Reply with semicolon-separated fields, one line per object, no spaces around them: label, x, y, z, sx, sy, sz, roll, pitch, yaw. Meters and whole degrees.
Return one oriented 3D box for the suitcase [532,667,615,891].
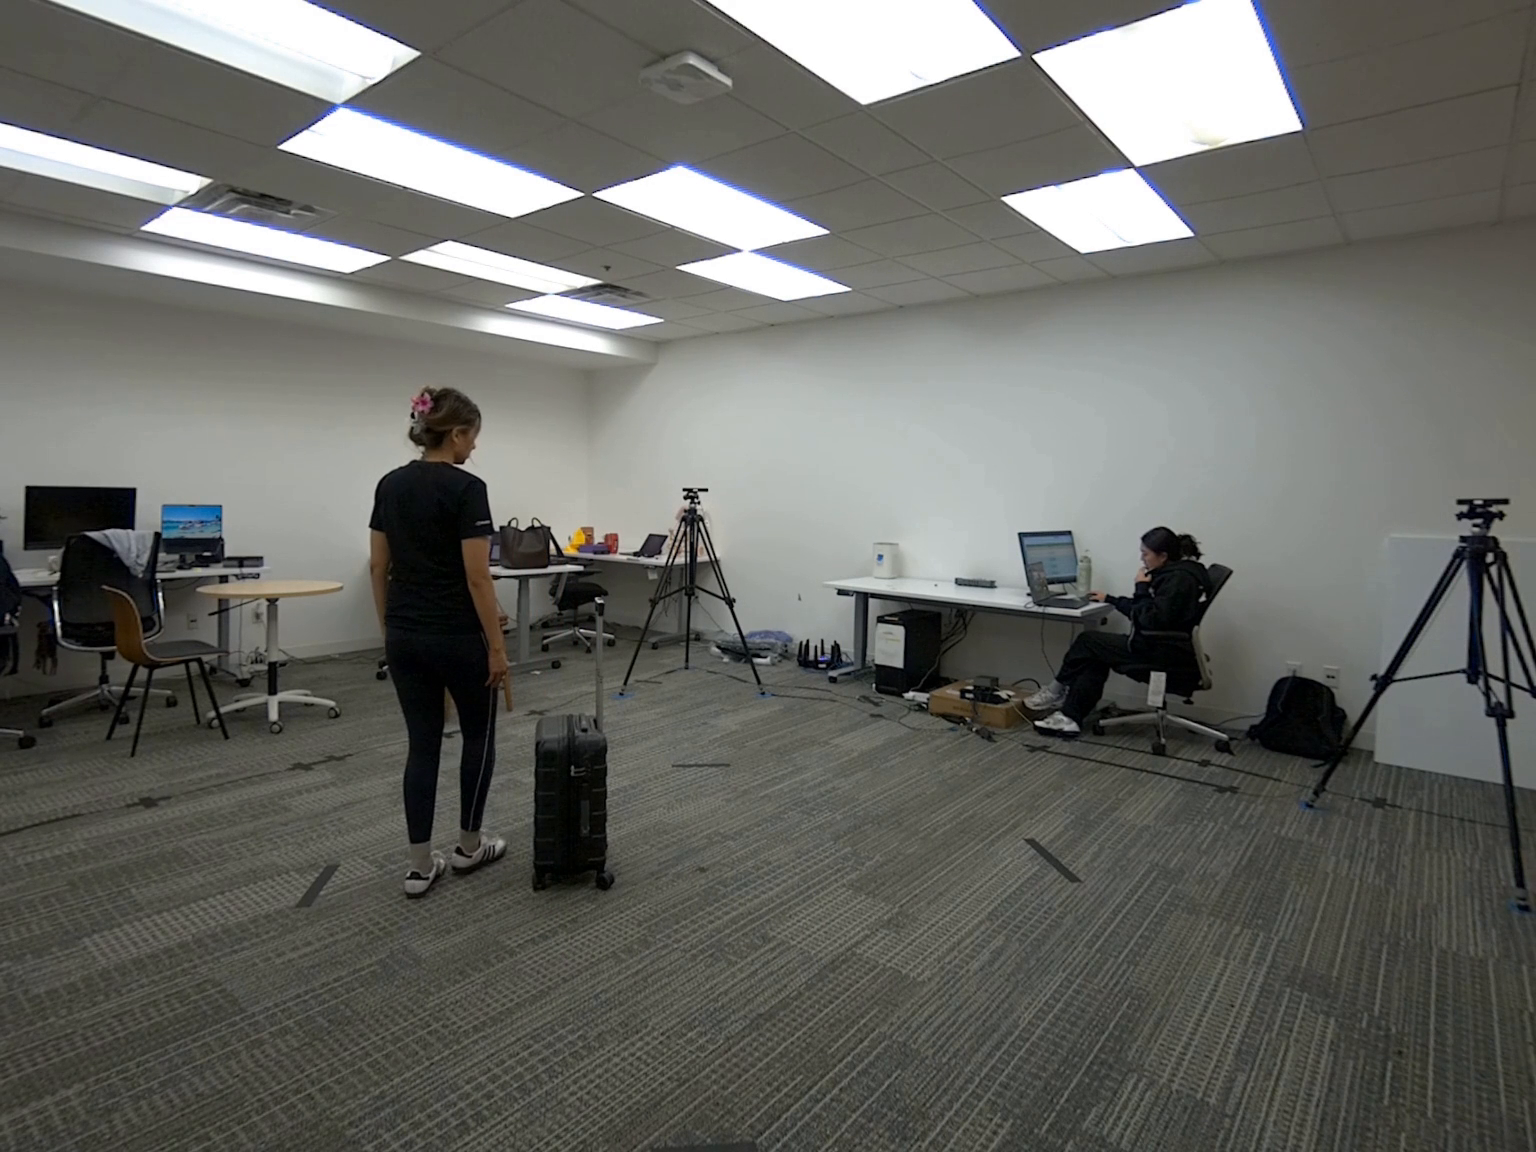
suitcase;-0.723;0.588;3.061;0.254;0.977;0.389;0;2;-12
